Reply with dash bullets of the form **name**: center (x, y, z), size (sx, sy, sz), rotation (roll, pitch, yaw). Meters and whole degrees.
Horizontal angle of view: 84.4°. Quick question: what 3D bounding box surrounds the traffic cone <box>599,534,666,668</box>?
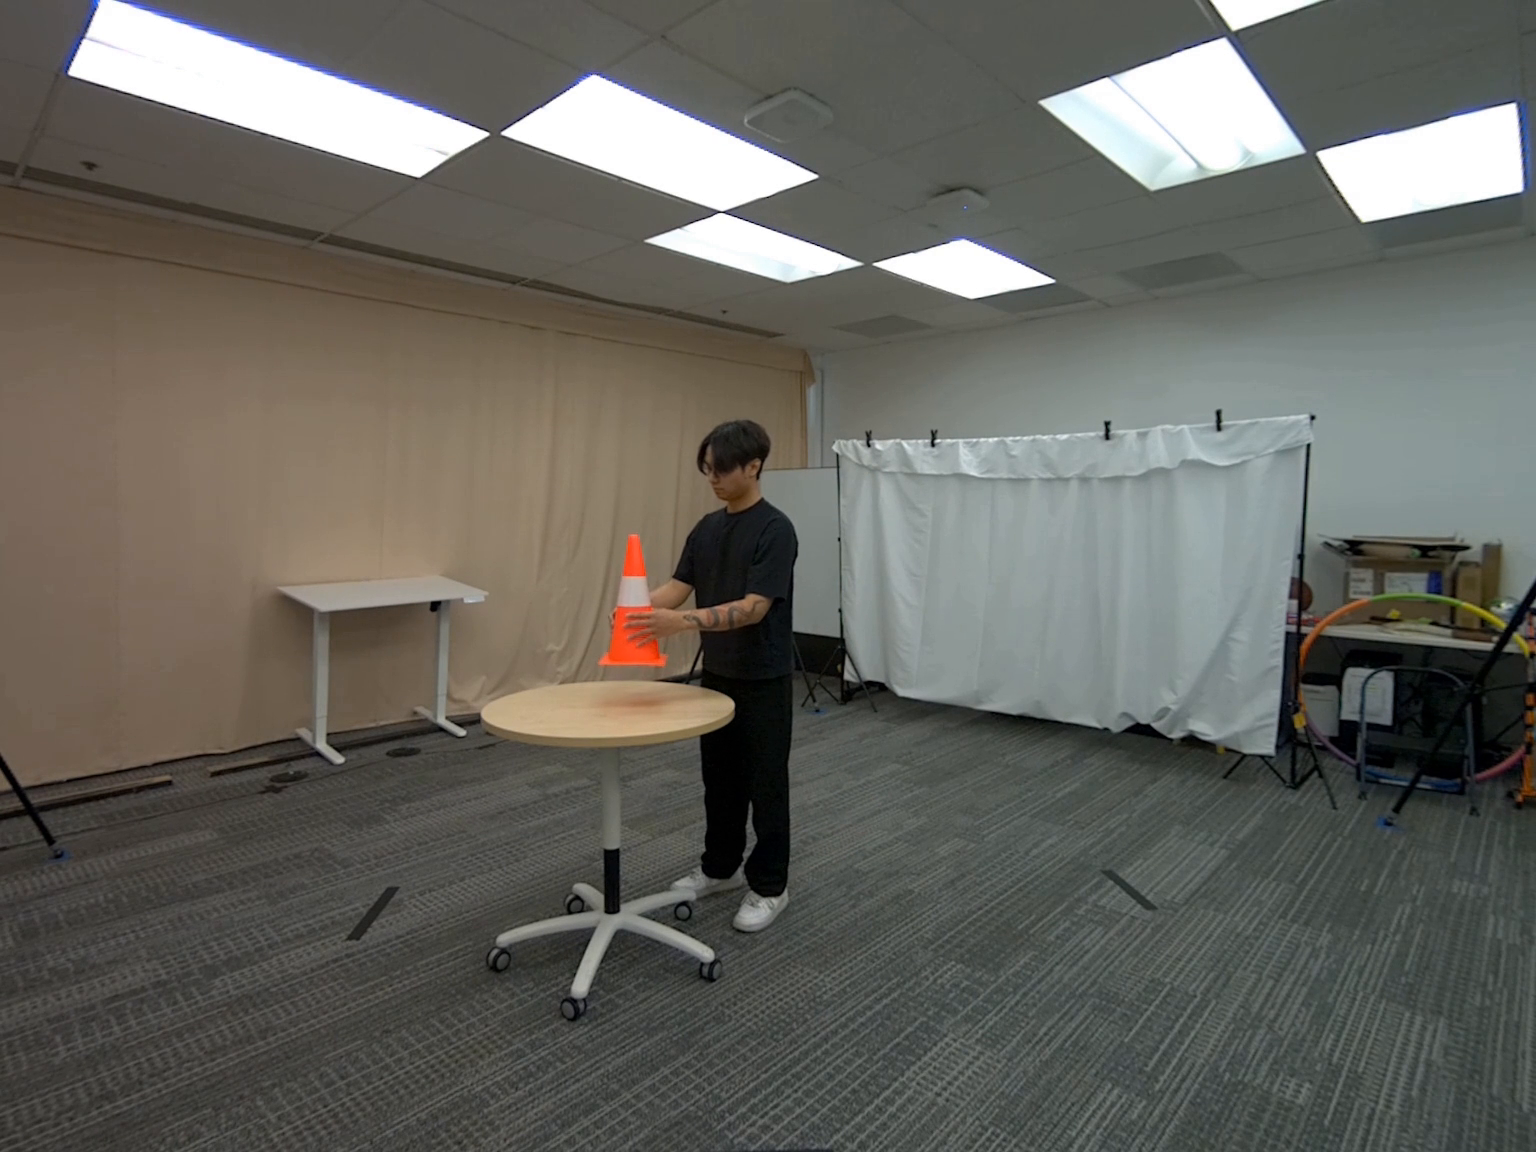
- **traffic cone**: center (-0.410, 0.073, 2.572), size (0.199, 0.383, 0.209), rotation (-5, 1, -43)
